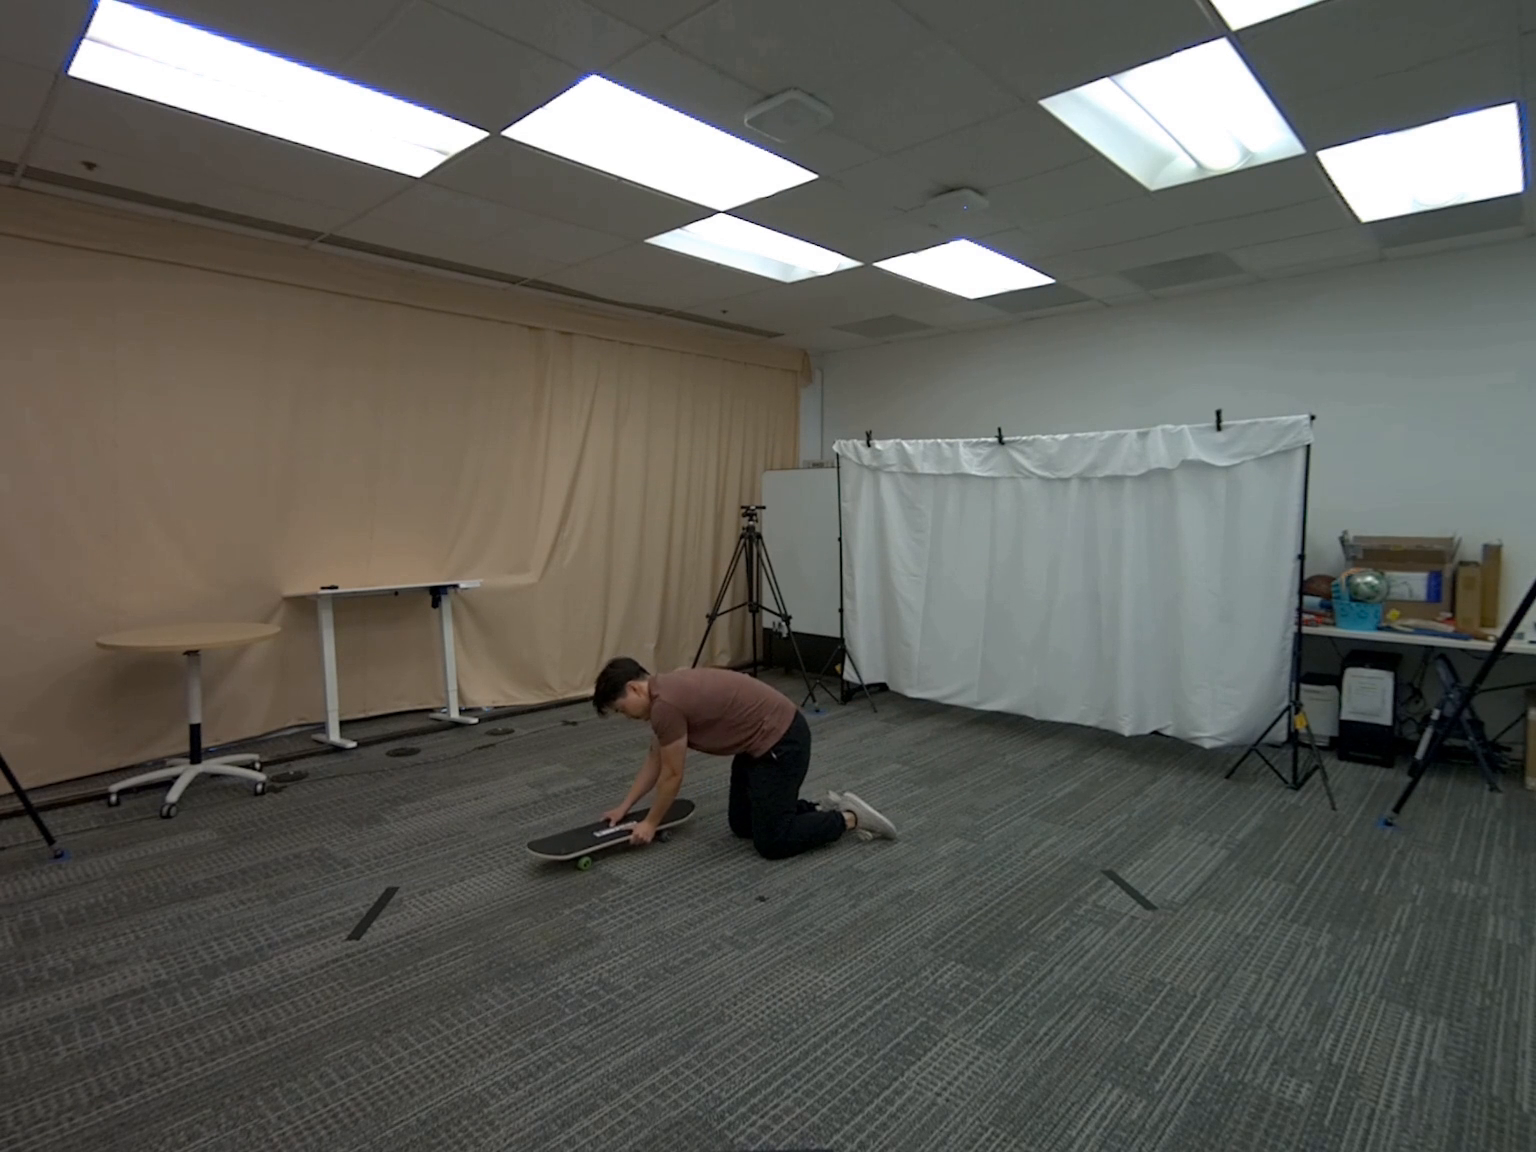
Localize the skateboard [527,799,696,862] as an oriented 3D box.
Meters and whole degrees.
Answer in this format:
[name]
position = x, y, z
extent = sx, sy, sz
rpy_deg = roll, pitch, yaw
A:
[skateboard]
position = -0.624, 1.062, 3.427
extent = 0.761, 0.110, 0.200
rpy_deg = -4, 8, -41
